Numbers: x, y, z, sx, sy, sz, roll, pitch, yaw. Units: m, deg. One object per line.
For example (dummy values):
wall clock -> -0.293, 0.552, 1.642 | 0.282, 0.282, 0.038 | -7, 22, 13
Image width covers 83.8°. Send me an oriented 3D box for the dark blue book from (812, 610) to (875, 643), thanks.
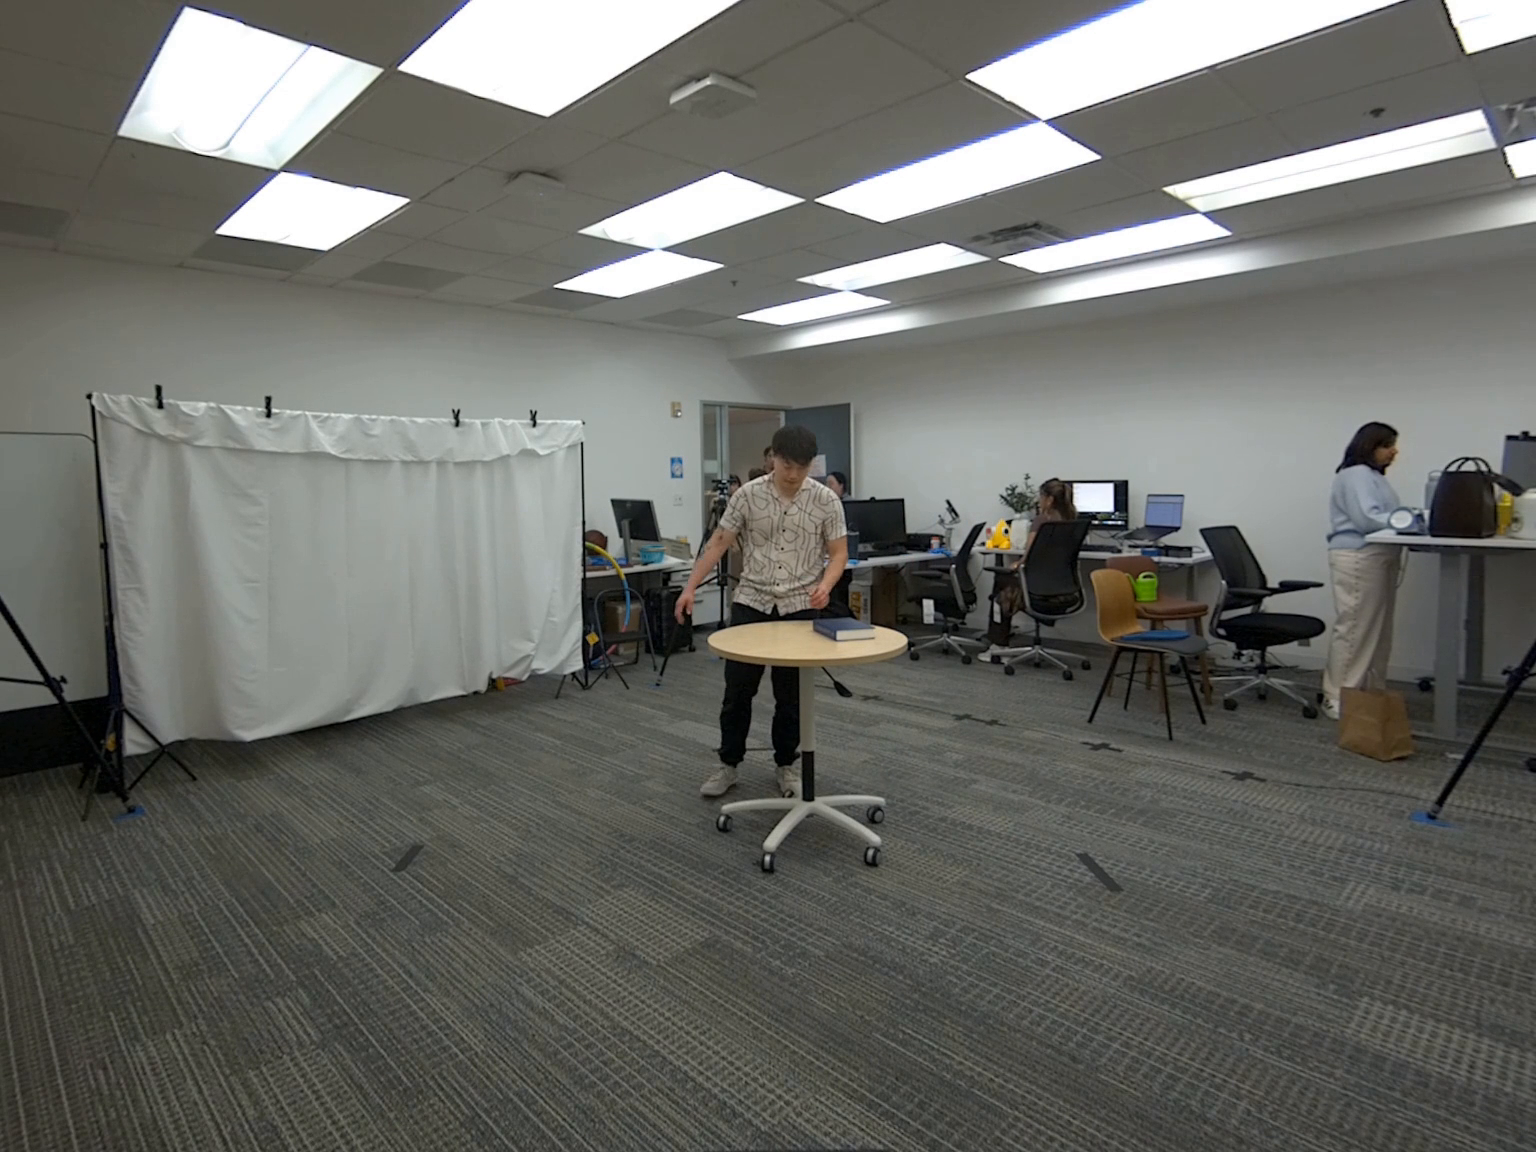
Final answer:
dark blue book -> 0.300, 0.211, 3.358 | 0.161, 0.045, 0.250 | -3, 7, -17
